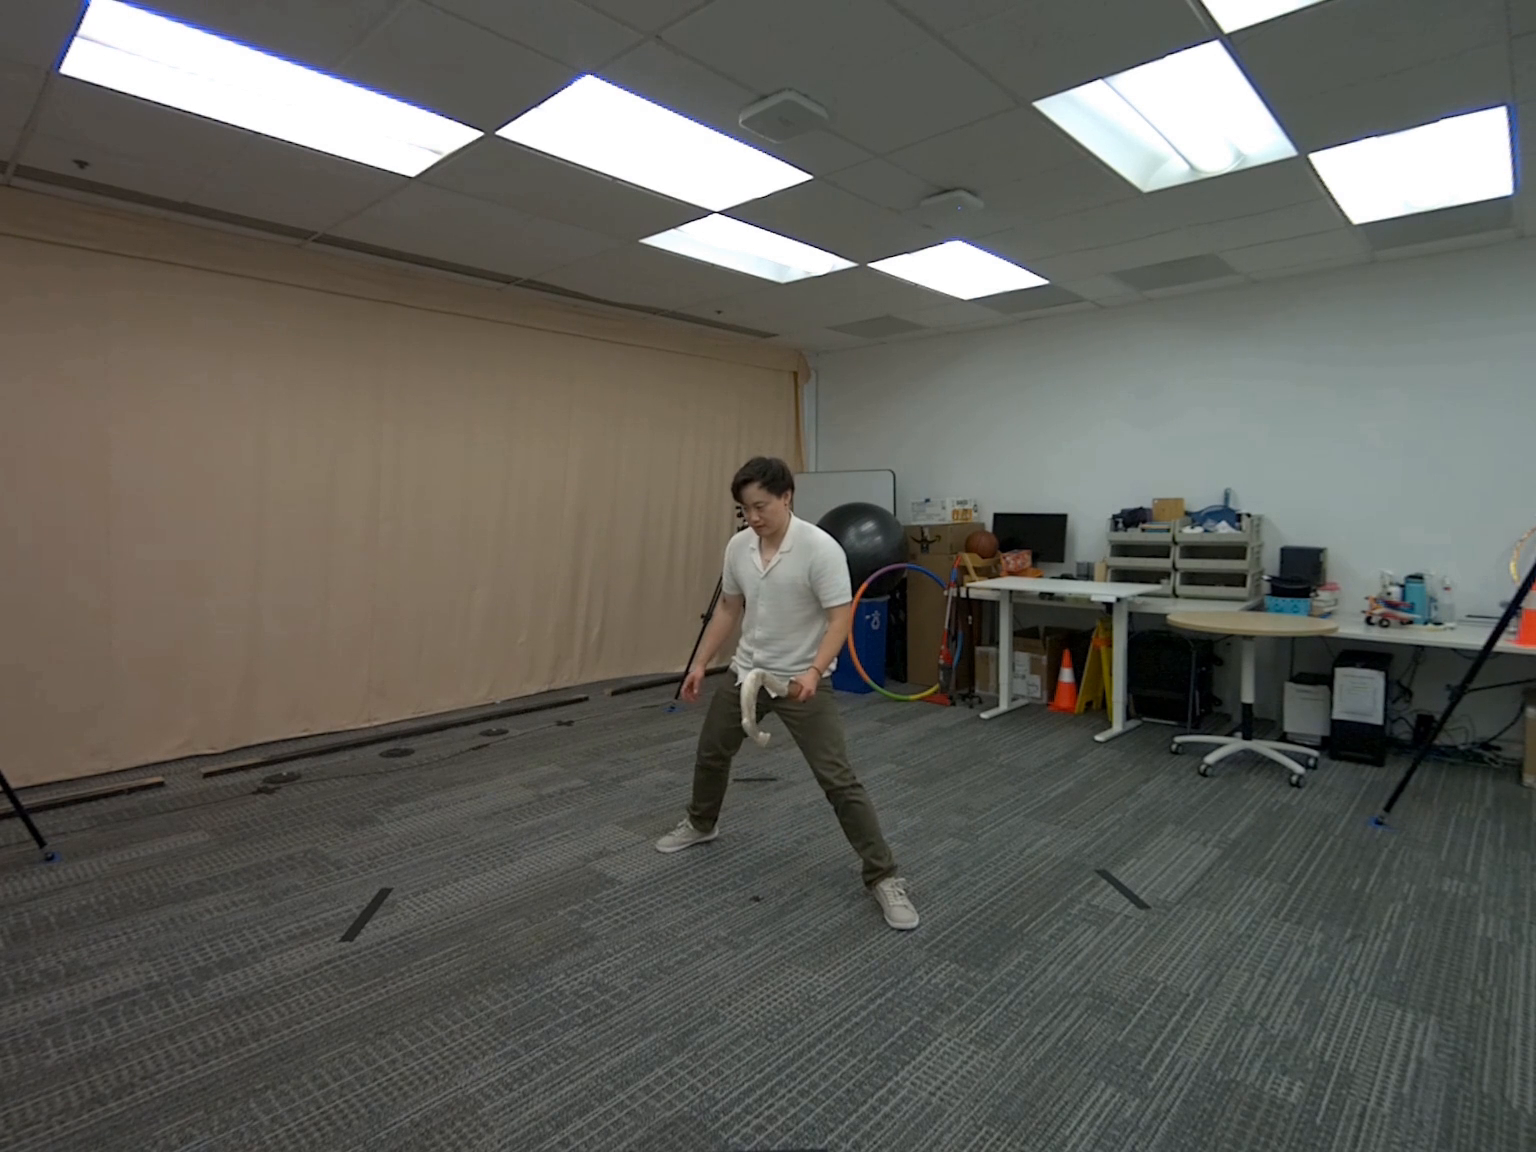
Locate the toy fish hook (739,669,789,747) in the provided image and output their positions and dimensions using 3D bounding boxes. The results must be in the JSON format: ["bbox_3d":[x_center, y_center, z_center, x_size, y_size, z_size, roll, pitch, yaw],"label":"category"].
[{"bbox_3d":[0.020,0.410,2.606,0.049,0.225,0.492,1,-7,24],"label":"toy fish hook"}]
